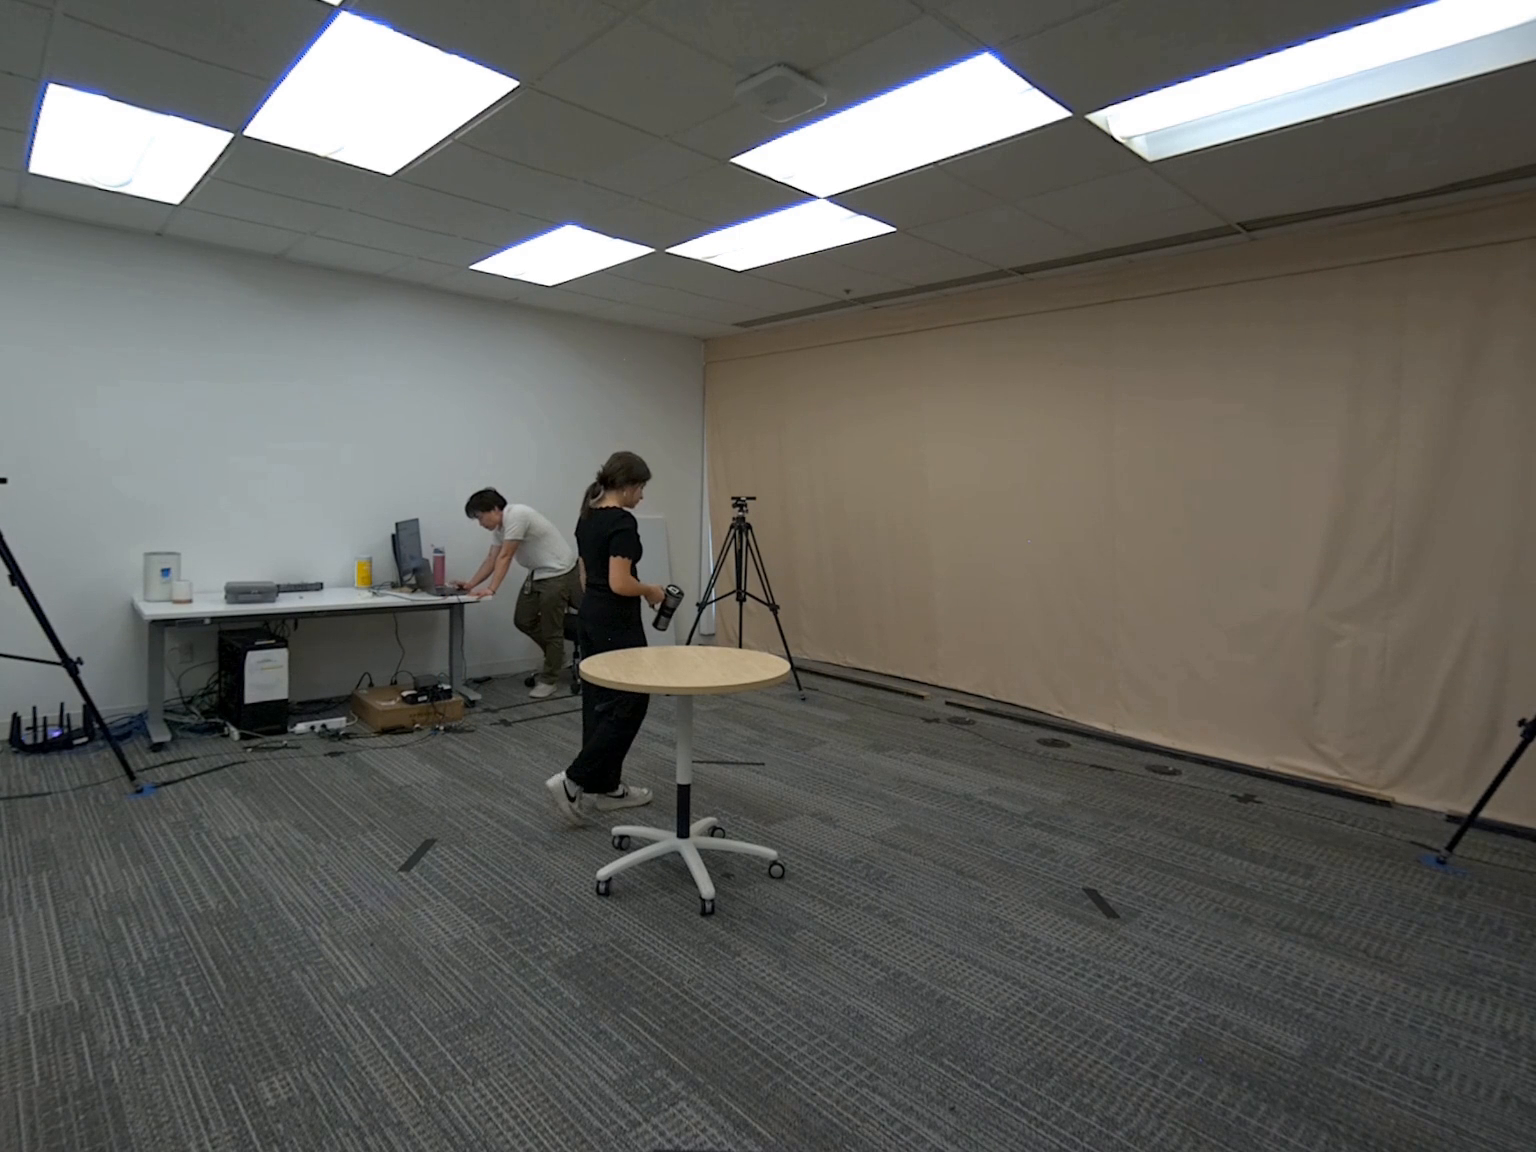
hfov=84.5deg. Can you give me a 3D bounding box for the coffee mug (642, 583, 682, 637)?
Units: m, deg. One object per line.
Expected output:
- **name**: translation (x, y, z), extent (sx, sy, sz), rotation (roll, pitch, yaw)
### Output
- **coffee mug**: translation (-0.487, 0.148, 3.732), extent (0.119, 0.202, 0.090), rotation (13, 27, -31)
